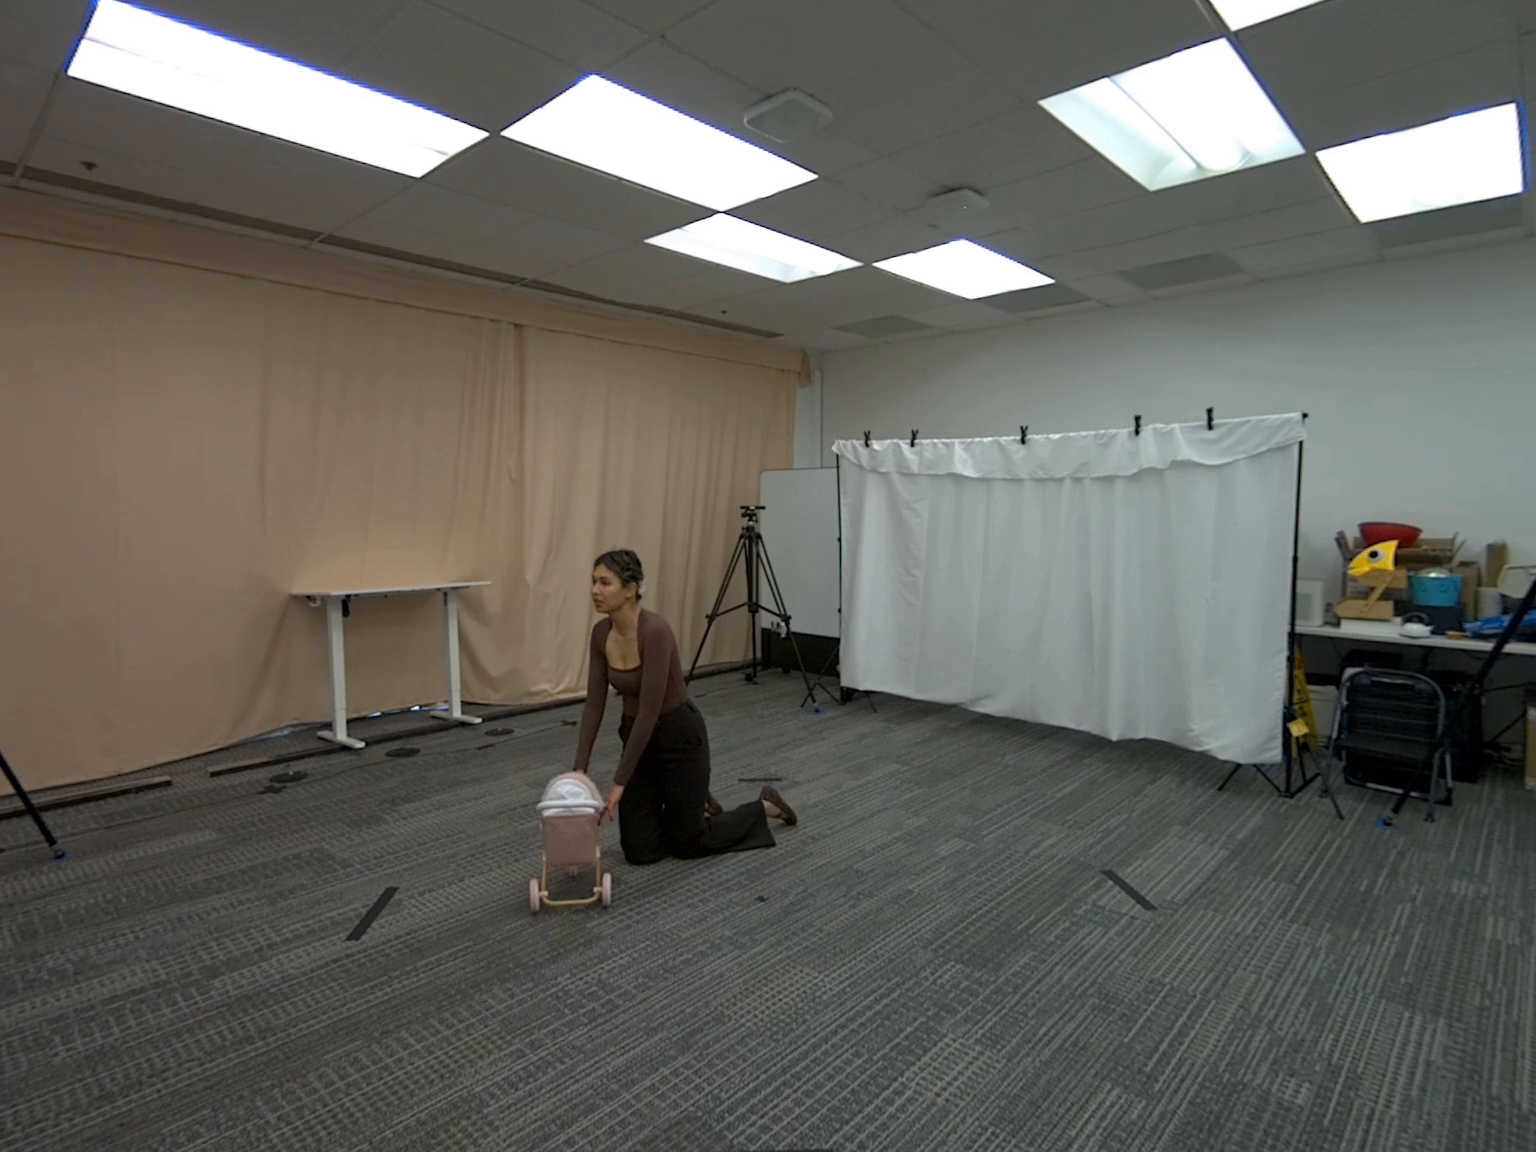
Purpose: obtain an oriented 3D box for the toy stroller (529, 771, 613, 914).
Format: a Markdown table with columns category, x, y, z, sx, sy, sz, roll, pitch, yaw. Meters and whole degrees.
| category | x | y | z | sx | sy | sz | roll | pitch | yaw |
| --- | --- | --- | --- | --- | --- | --- | --- | --- | --- |
| toy stroller | -0.690 | 0.924 | 2.983 | 0.279 | 0.529 | 0.347 | 0 | 18 | -7 |
